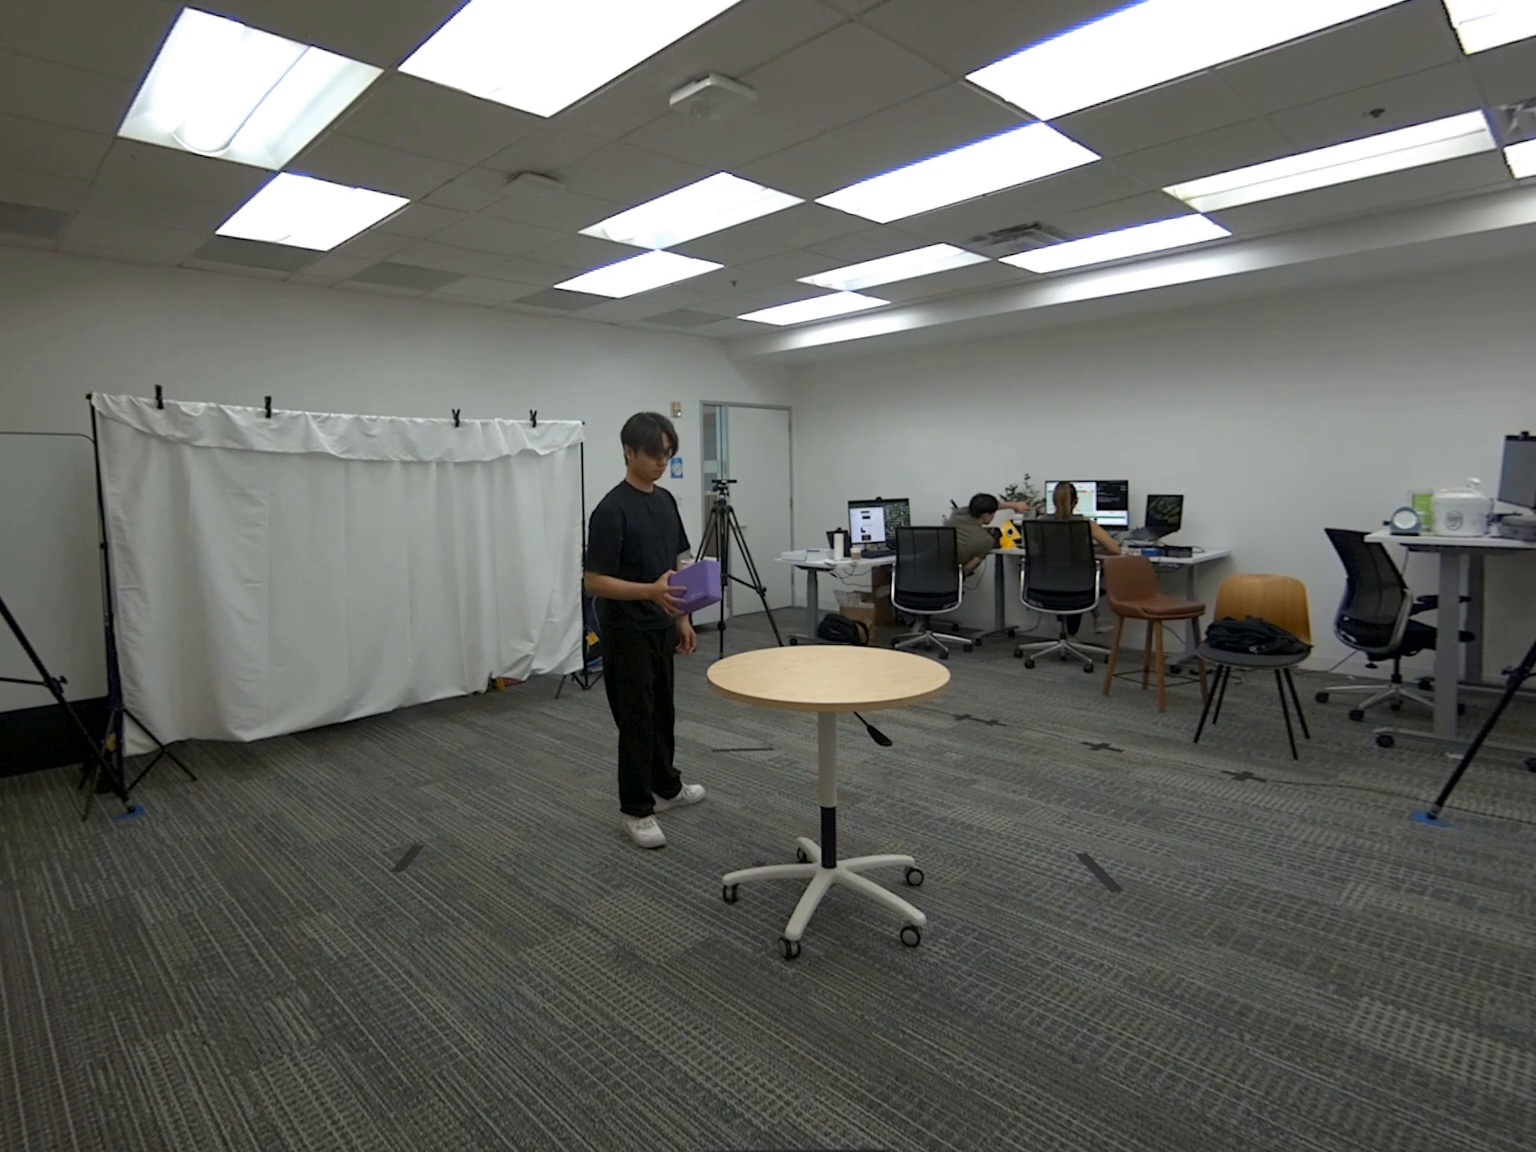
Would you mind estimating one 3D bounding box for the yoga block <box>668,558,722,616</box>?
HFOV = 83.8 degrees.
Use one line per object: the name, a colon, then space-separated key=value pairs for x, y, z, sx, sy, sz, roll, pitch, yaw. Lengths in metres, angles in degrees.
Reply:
yoga block: x=-0.267 y=0.046 z=3.074 sx=0.074 sy=0.152 sz=0.232 roll=13 pitch=-29 yaw=-40
